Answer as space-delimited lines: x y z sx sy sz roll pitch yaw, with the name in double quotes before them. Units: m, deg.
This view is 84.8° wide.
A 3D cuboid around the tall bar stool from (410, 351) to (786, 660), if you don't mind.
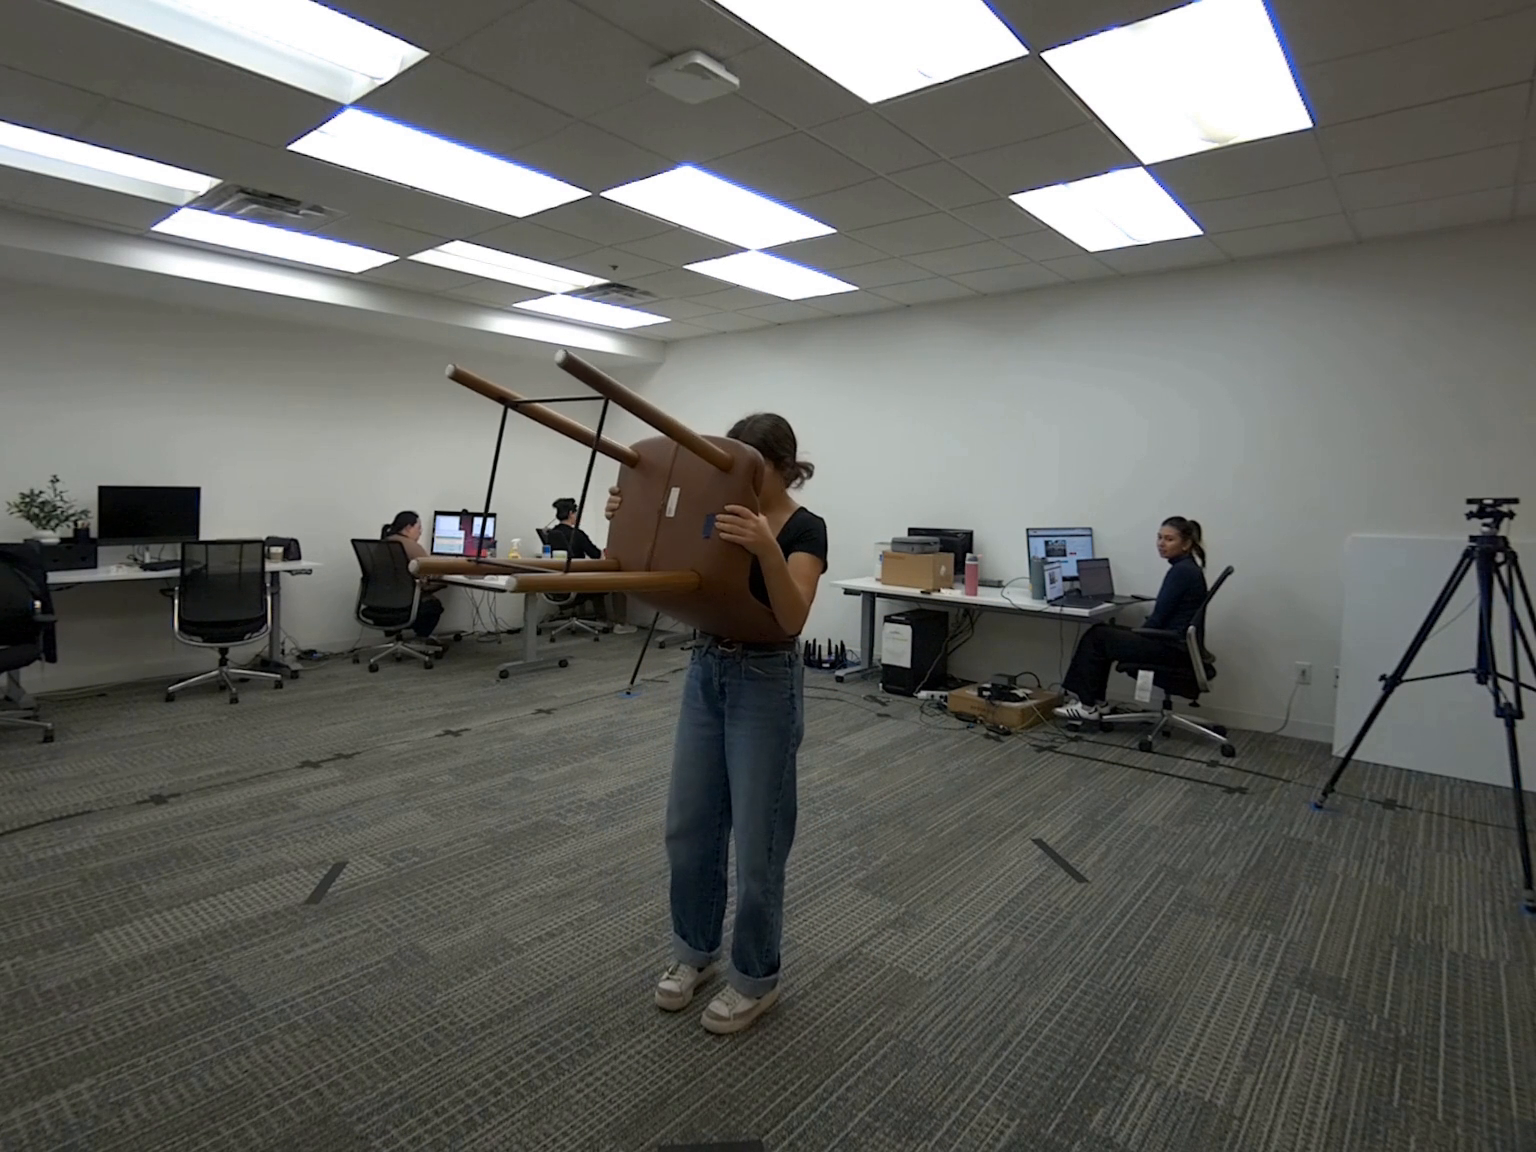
"tall bar stool" -0.317 -0.140 1.993 0.472 0.470 0.855 5 -9 40
